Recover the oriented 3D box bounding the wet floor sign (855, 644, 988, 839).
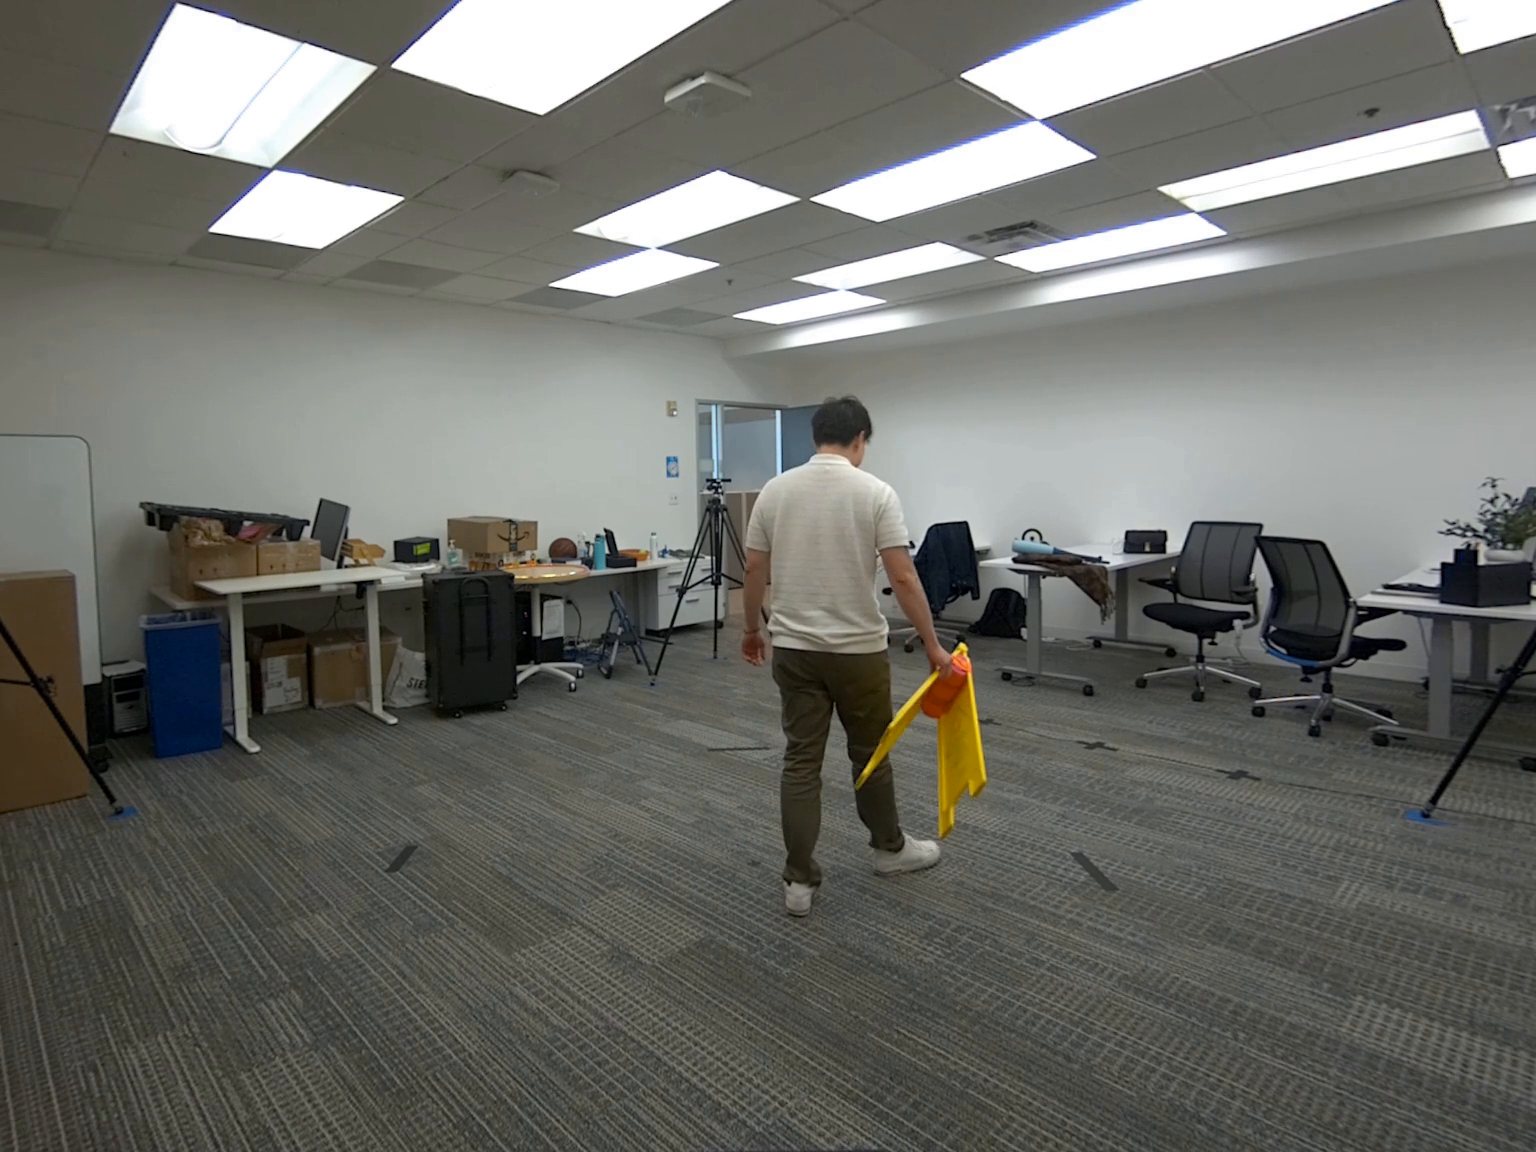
[{"bbox_3d":[0.539,0.453,2.723,0.293,0.278,0.648,28,35,6],"label":"wet floor sign"}]
